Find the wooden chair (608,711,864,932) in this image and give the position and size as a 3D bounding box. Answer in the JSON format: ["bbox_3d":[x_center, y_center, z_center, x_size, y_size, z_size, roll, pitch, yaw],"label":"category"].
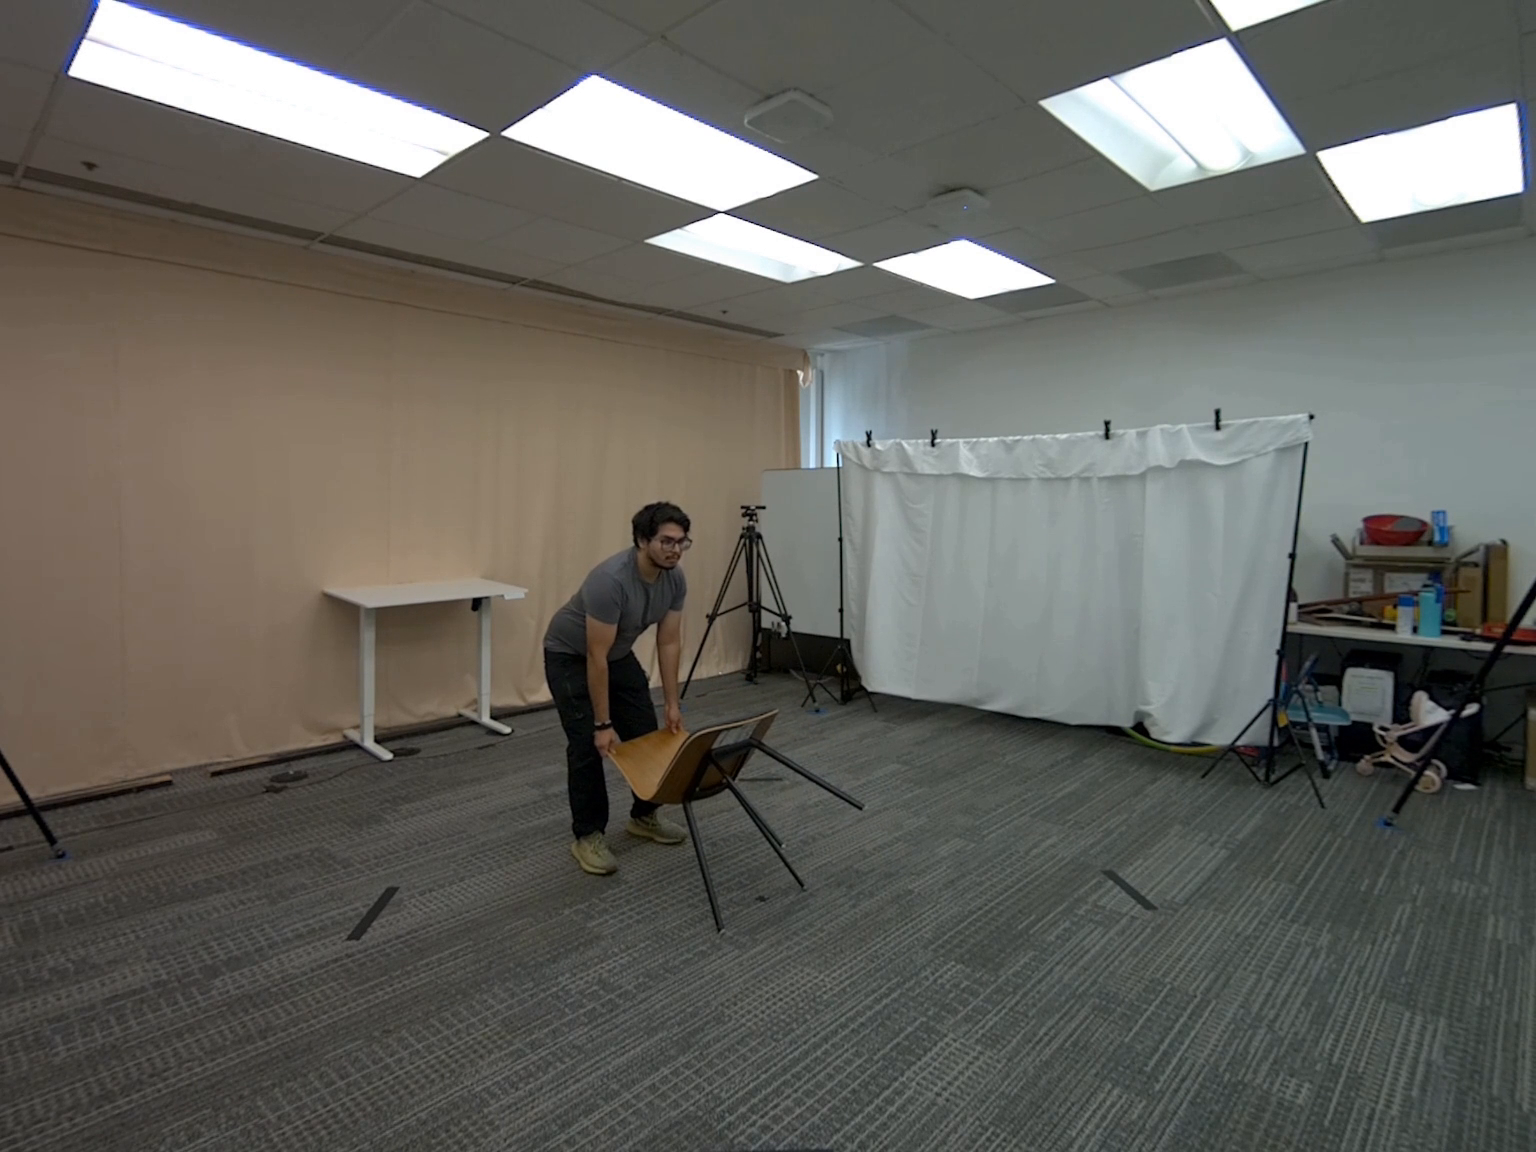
[{"bbox_3d":[-0.169,0.700,3.015,0.463,0.521,0.907,-4,37,-48],"label":"wooden chair"}]
